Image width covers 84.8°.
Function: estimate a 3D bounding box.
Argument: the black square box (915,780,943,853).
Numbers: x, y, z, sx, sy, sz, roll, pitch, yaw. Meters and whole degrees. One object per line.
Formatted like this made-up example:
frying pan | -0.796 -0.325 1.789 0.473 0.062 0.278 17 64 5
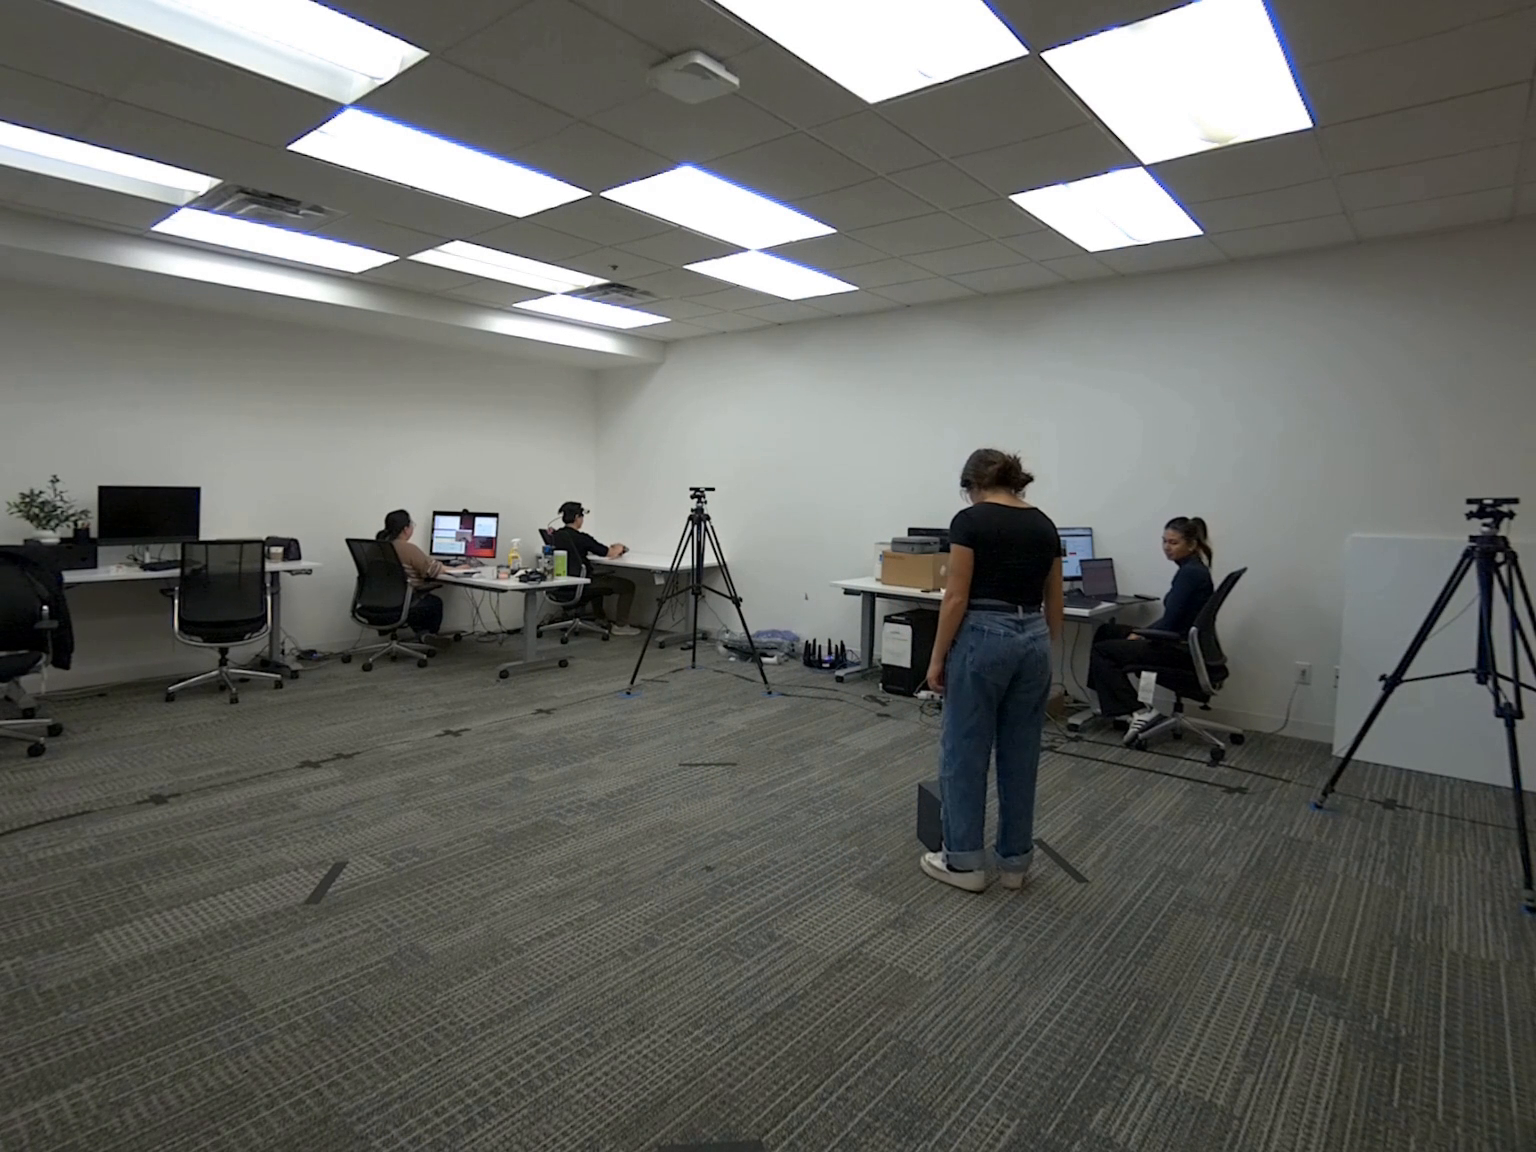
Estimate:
black square box | 0.695 0.942 3.336 0.154 0.227 0.220 0 4 -12
